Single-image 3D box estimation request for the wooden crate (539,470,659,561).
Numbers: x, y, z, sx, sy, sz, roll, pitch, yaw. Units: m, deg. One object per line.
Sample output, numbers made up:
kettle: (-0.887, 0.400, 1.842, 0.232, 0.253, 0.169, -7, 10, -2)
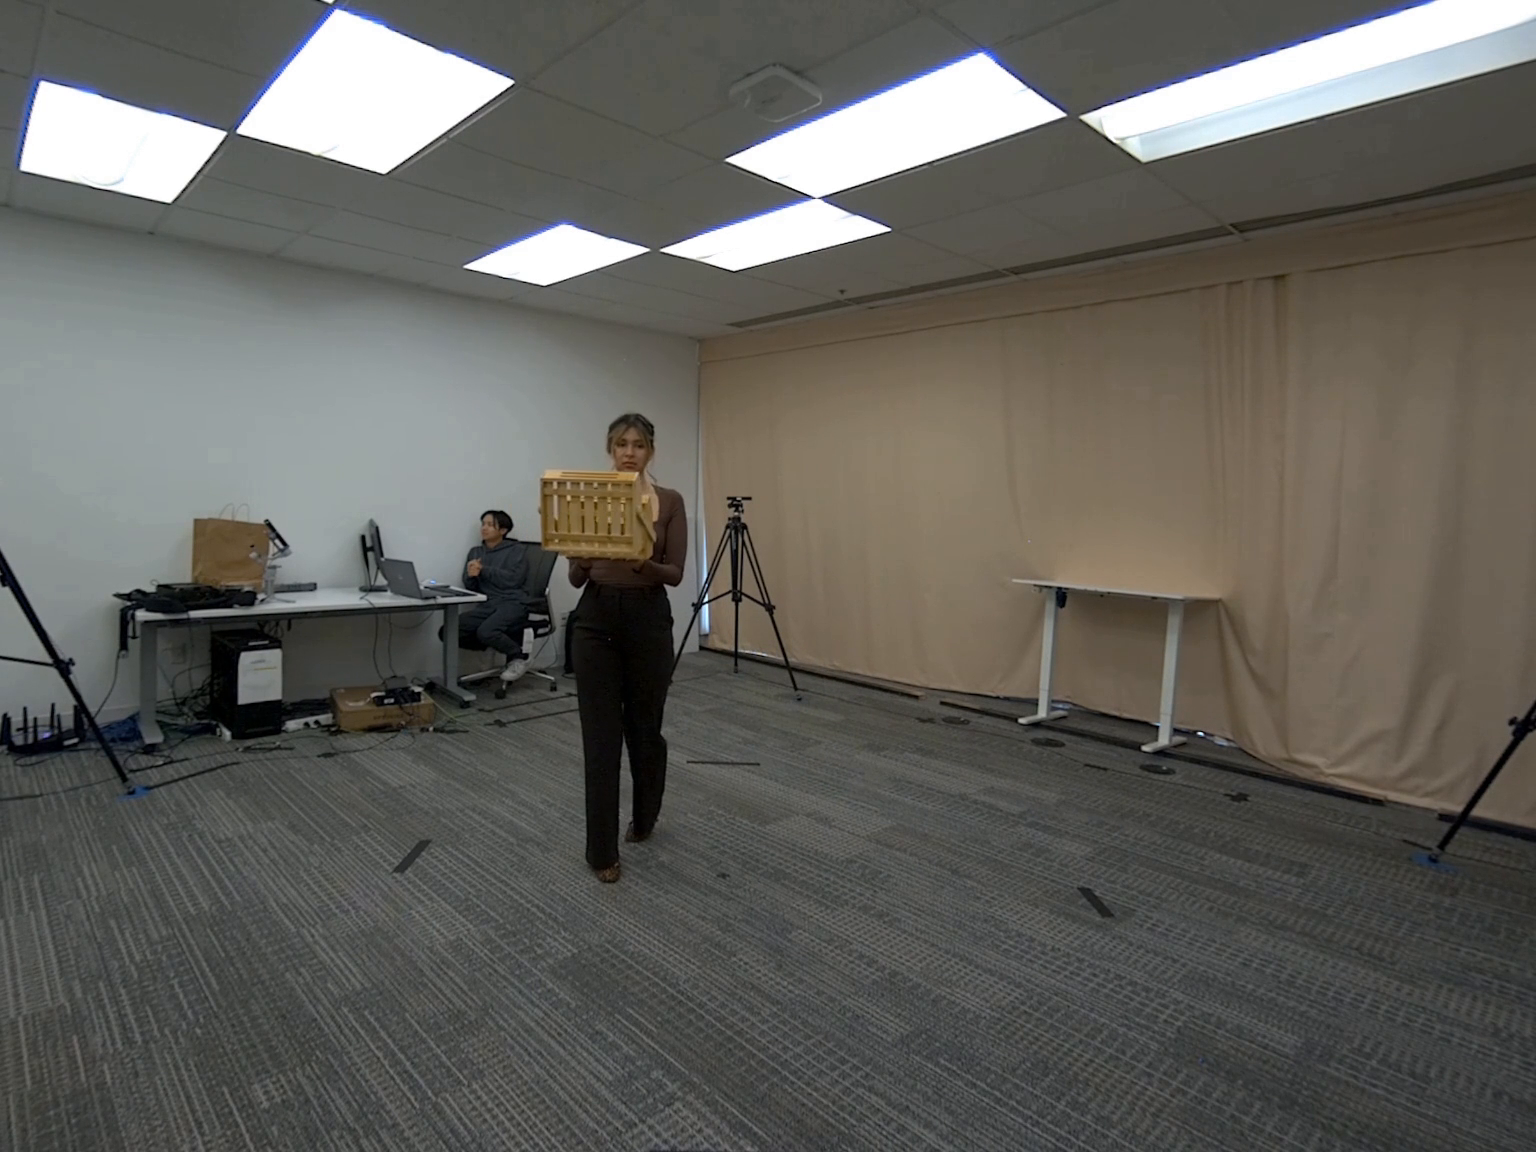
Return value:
wooden crate: (-0.564, -0.202, 2.734, 0.326, 0.300, 0.274, 3, 11, 5)
